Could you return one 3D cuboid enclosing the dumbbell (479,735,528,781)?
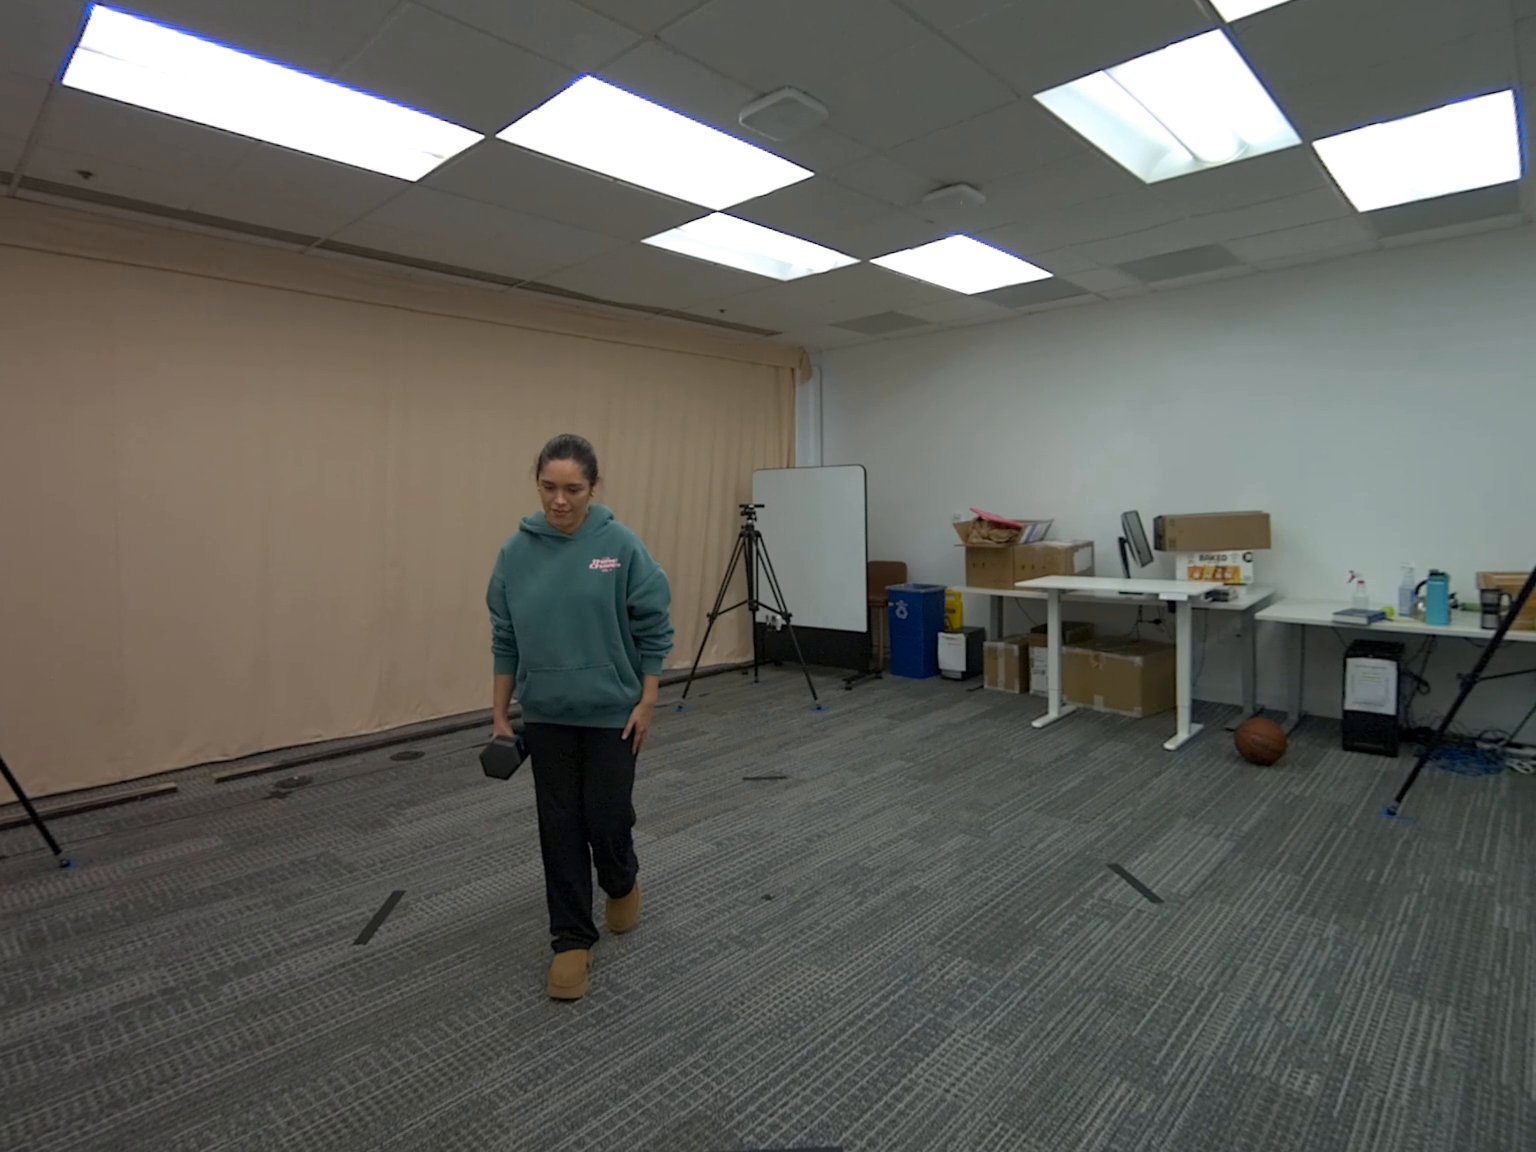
[{"bbox_3d":[-0.751,0.510,2.466,0.108,0.123,0.295,-19,2,-6],"label":"dumbbell"}]
